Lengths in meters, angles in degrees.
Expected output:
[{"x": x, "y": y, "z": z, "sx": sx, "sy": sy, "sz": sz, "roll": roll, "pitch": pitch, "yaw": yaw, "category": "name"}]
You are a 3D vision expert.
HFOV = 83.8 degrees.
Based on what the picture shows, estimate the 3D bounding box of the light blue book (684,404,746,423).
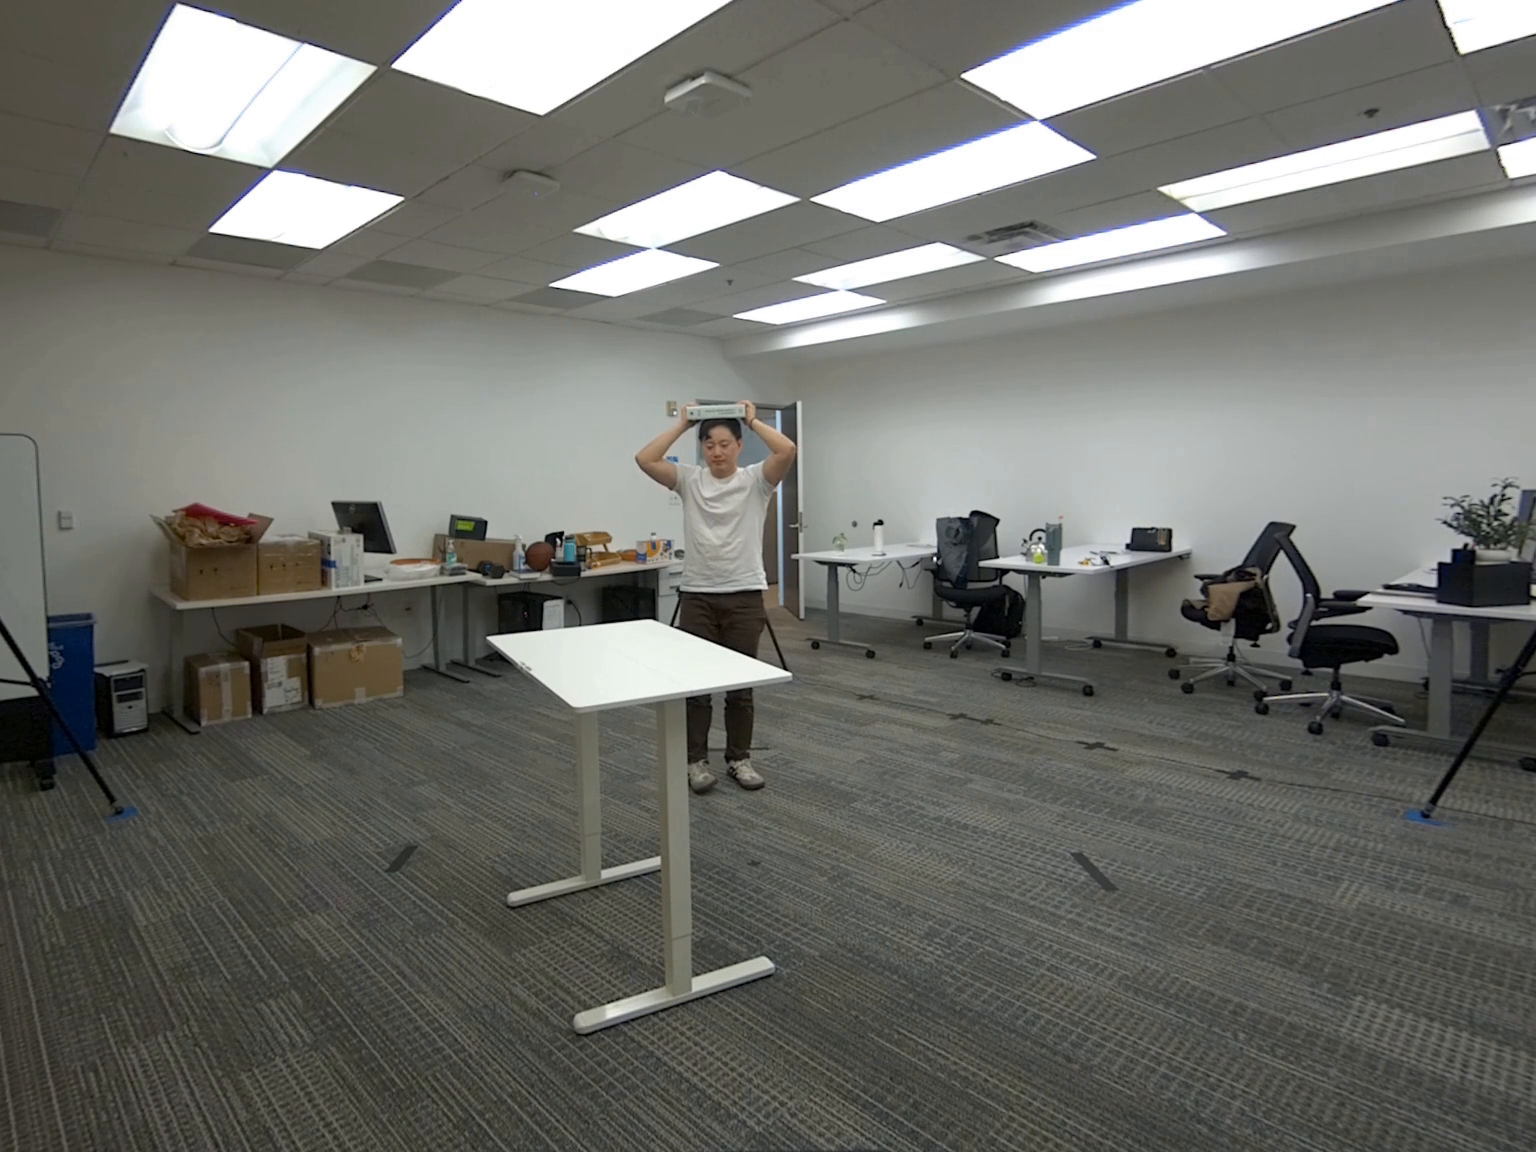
[{"x": -0.216, "y": -0.737, "z": 3.842, "sx": 0.262, "sy": 0.058, "sz": 0.192, "roll": -2, "pitch": 9, "yaw": 3, "category": "light blue book"}]
